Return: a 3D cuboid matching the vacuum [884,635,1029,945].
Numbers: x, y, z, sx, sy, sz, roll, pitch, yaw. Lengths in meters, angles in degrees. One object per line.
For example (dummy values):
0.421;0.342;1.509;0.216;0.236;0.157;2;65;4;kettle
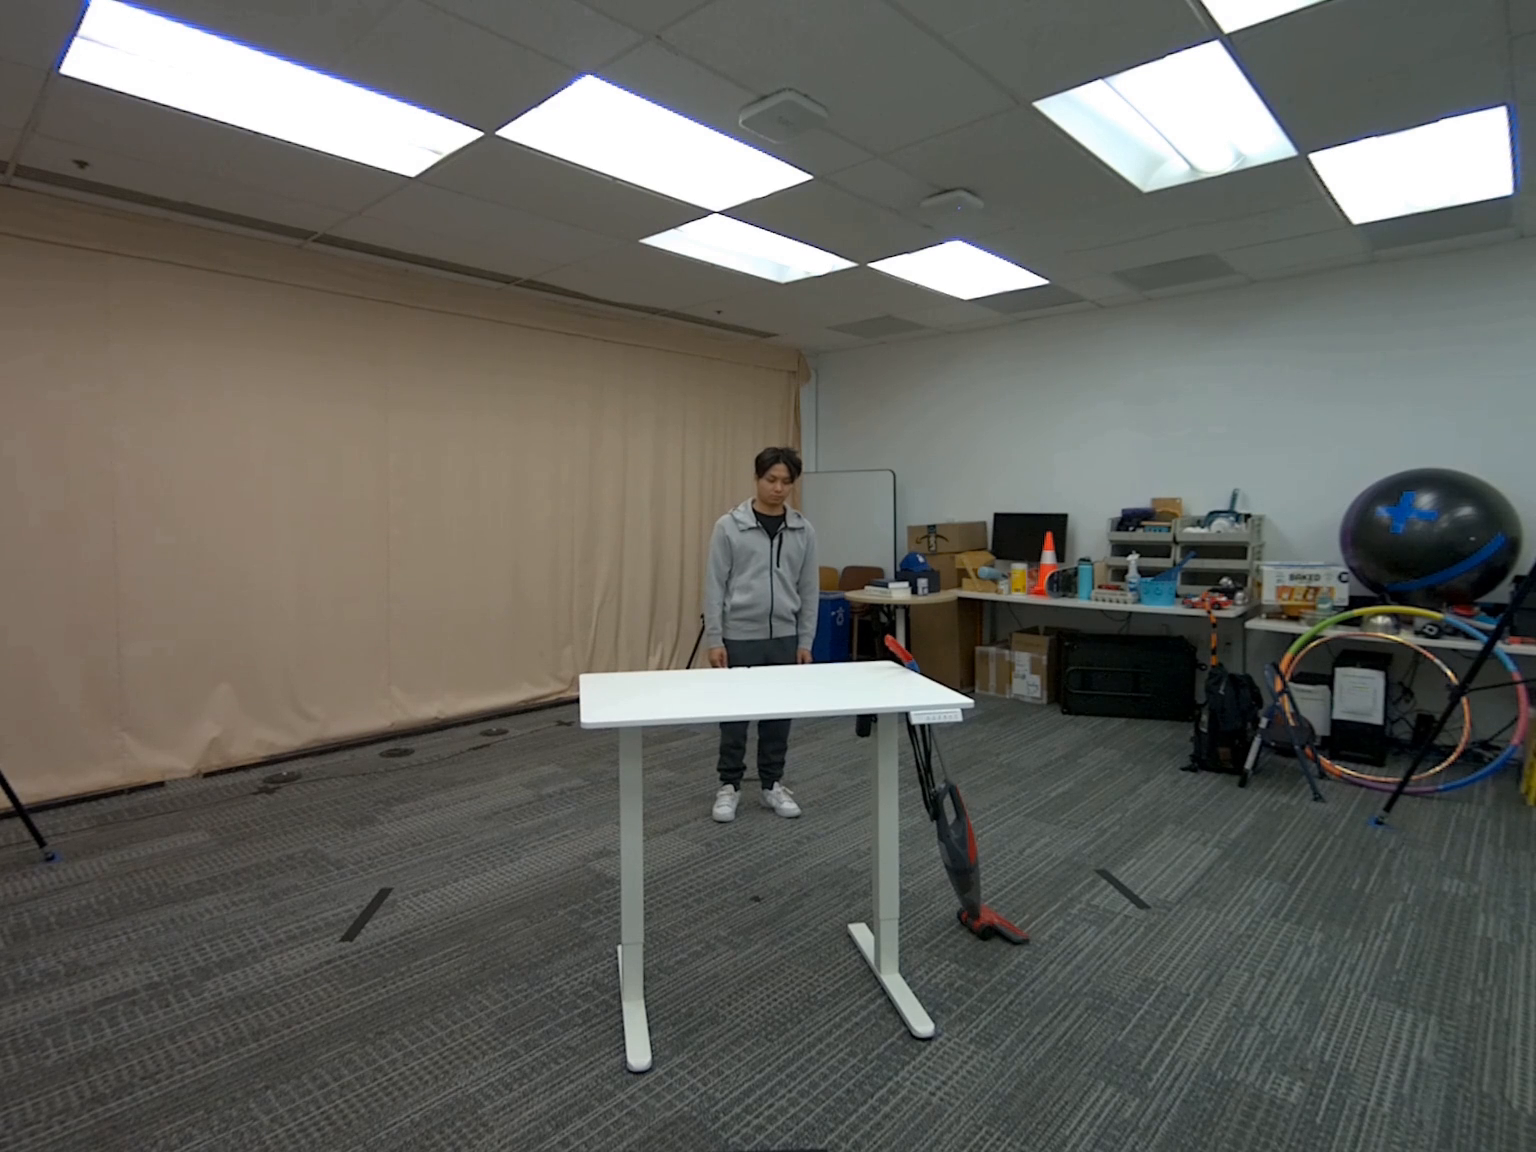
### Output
0.555;0.682;2.682;0.142;1.039;0.259;-24;11;-23;vacuum
